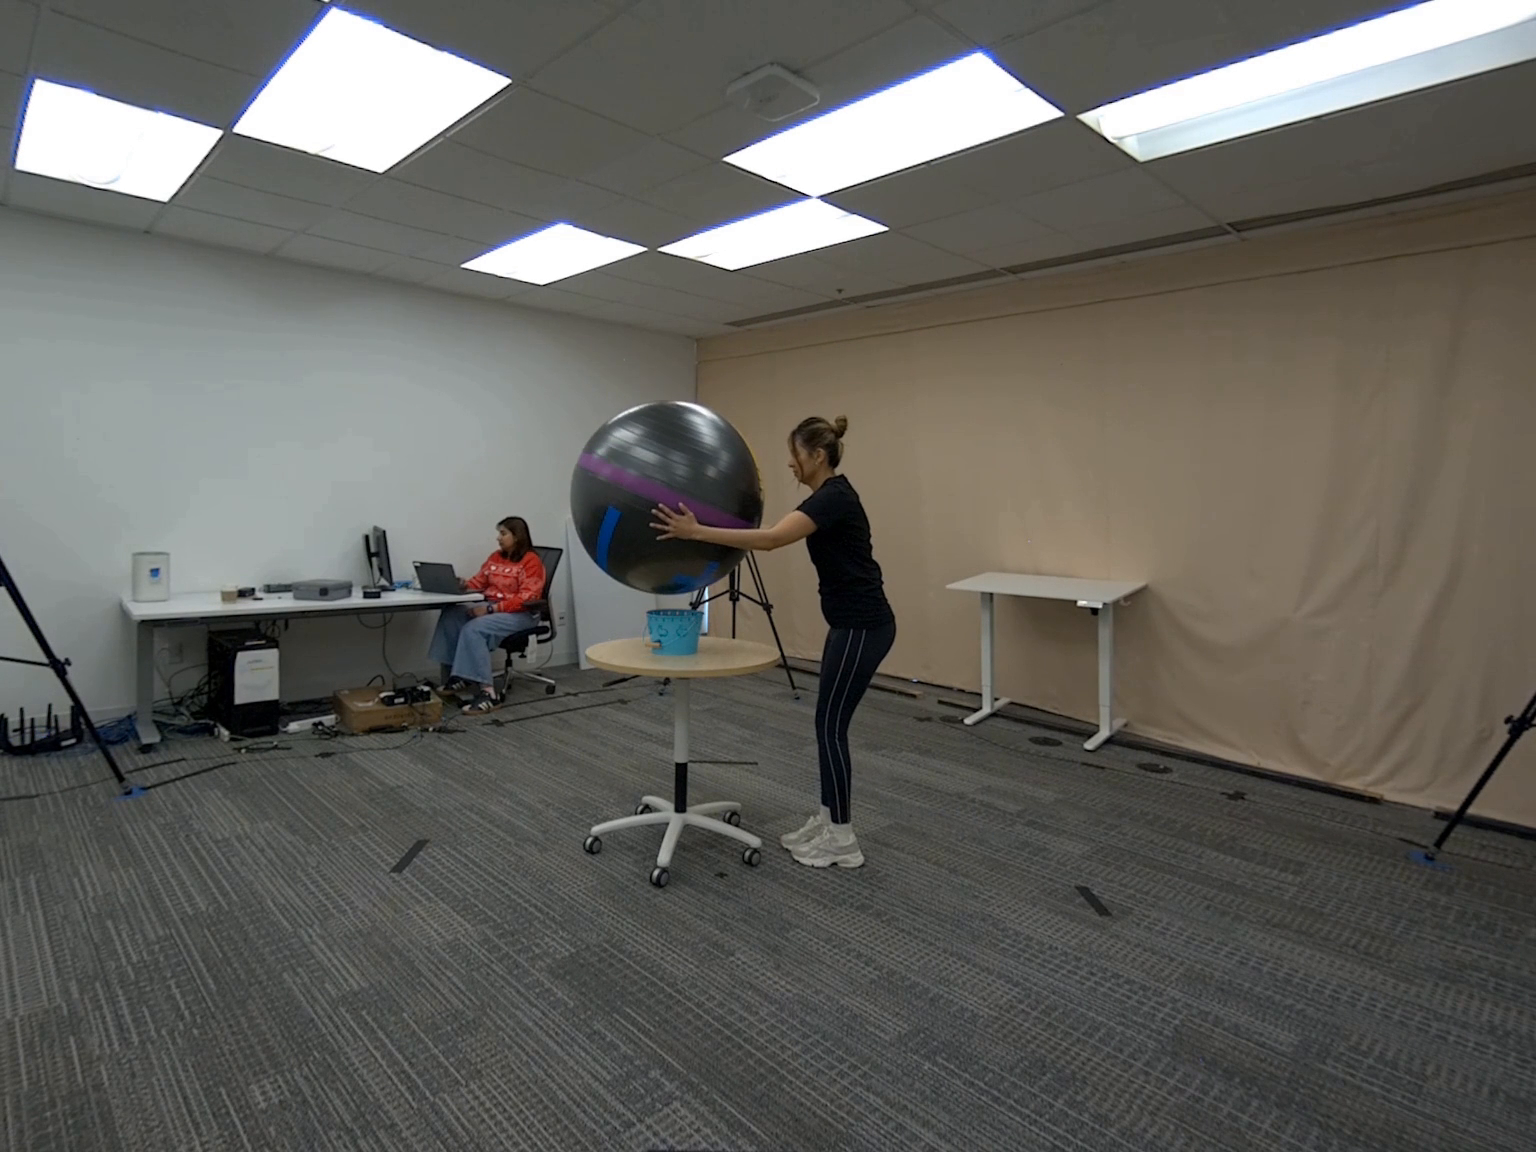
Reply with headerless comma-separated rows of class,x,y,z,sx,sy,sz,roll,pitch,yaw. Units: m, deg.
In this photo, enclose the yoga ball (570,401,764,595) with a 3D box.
yoga ball,-0.410,-0.305,3.308,0.757,0.756,0.761,1,4,-1
